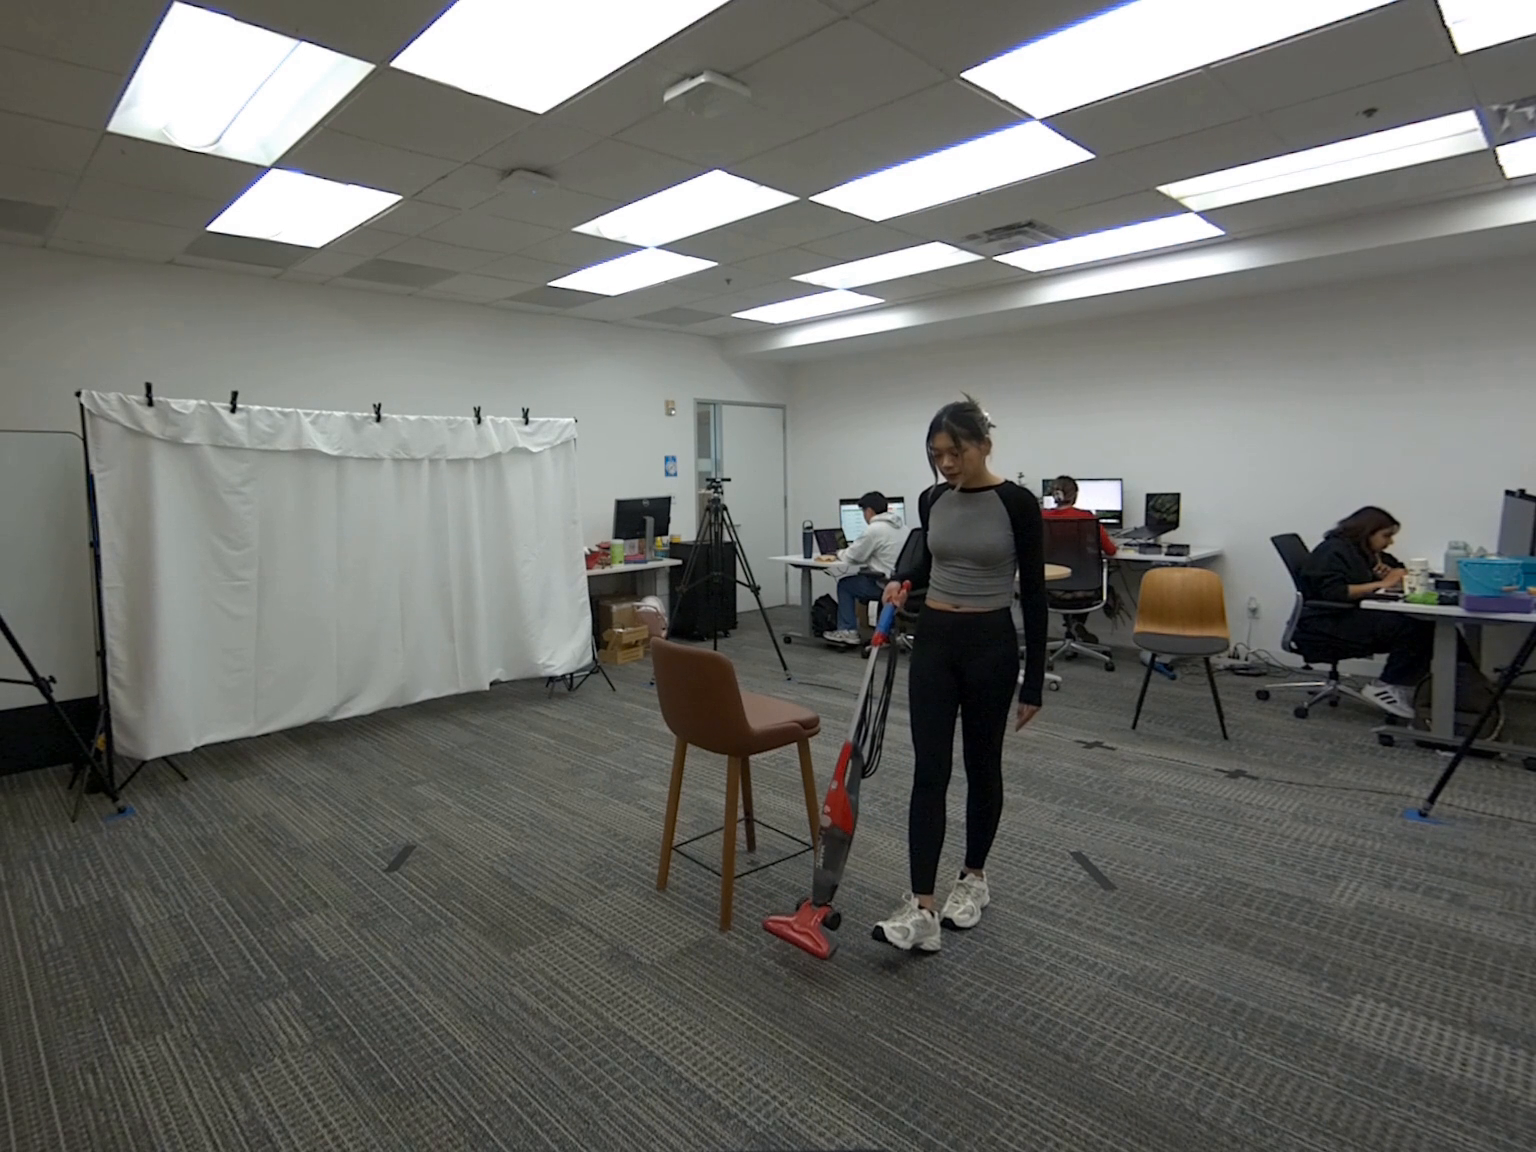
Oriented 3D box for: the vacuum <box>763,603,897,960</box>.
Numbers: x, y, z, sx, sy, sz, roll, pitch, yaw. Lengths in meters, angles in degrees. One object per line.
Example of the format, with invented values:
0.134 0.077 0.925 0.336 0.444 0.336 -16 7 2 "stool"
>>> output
0.271 0.536 2.530 0.260 1.059 0.138 0 -21 45 "vacuum"
